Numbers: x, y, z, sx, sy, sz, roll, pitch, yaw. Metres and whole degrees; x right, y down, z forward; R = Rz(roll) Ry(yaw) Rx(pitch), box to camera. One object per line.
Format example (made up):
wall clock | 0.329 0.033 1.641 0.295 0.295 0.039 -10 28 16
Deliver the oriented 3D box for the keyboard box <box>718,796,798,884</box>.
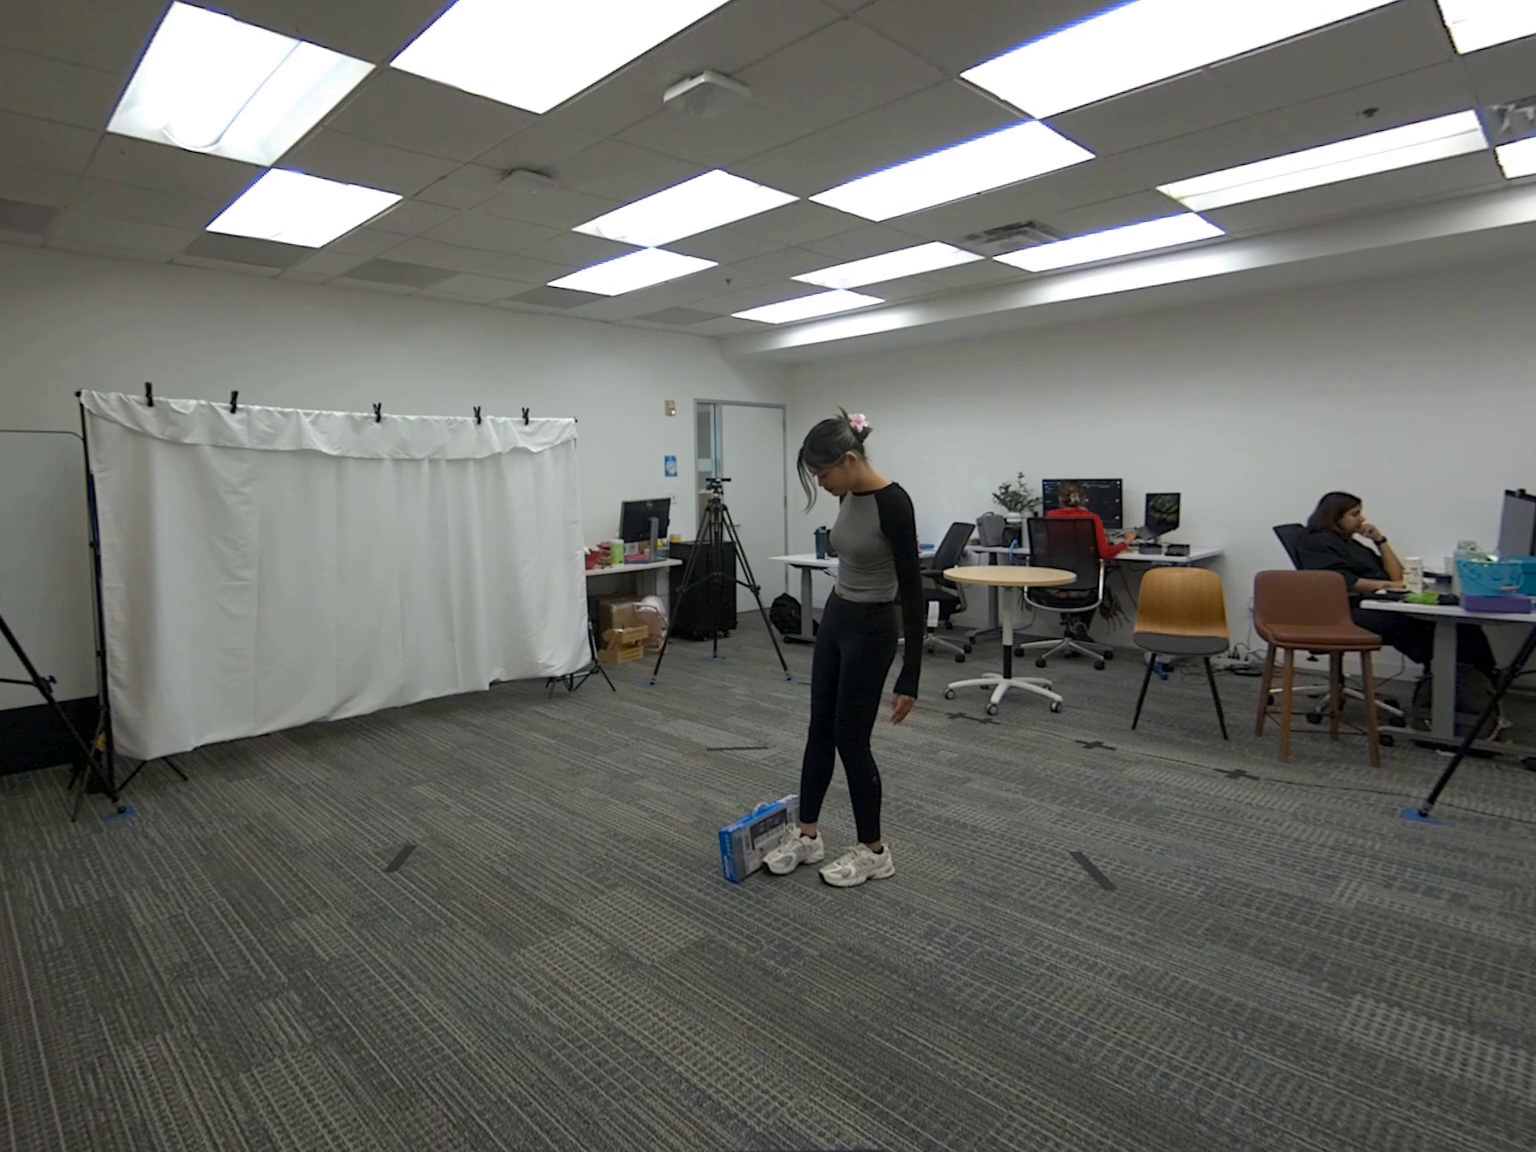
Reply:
keyboard box | -0.009 0.951 3.130 0.060 0.176 0.426 -9 0 37
